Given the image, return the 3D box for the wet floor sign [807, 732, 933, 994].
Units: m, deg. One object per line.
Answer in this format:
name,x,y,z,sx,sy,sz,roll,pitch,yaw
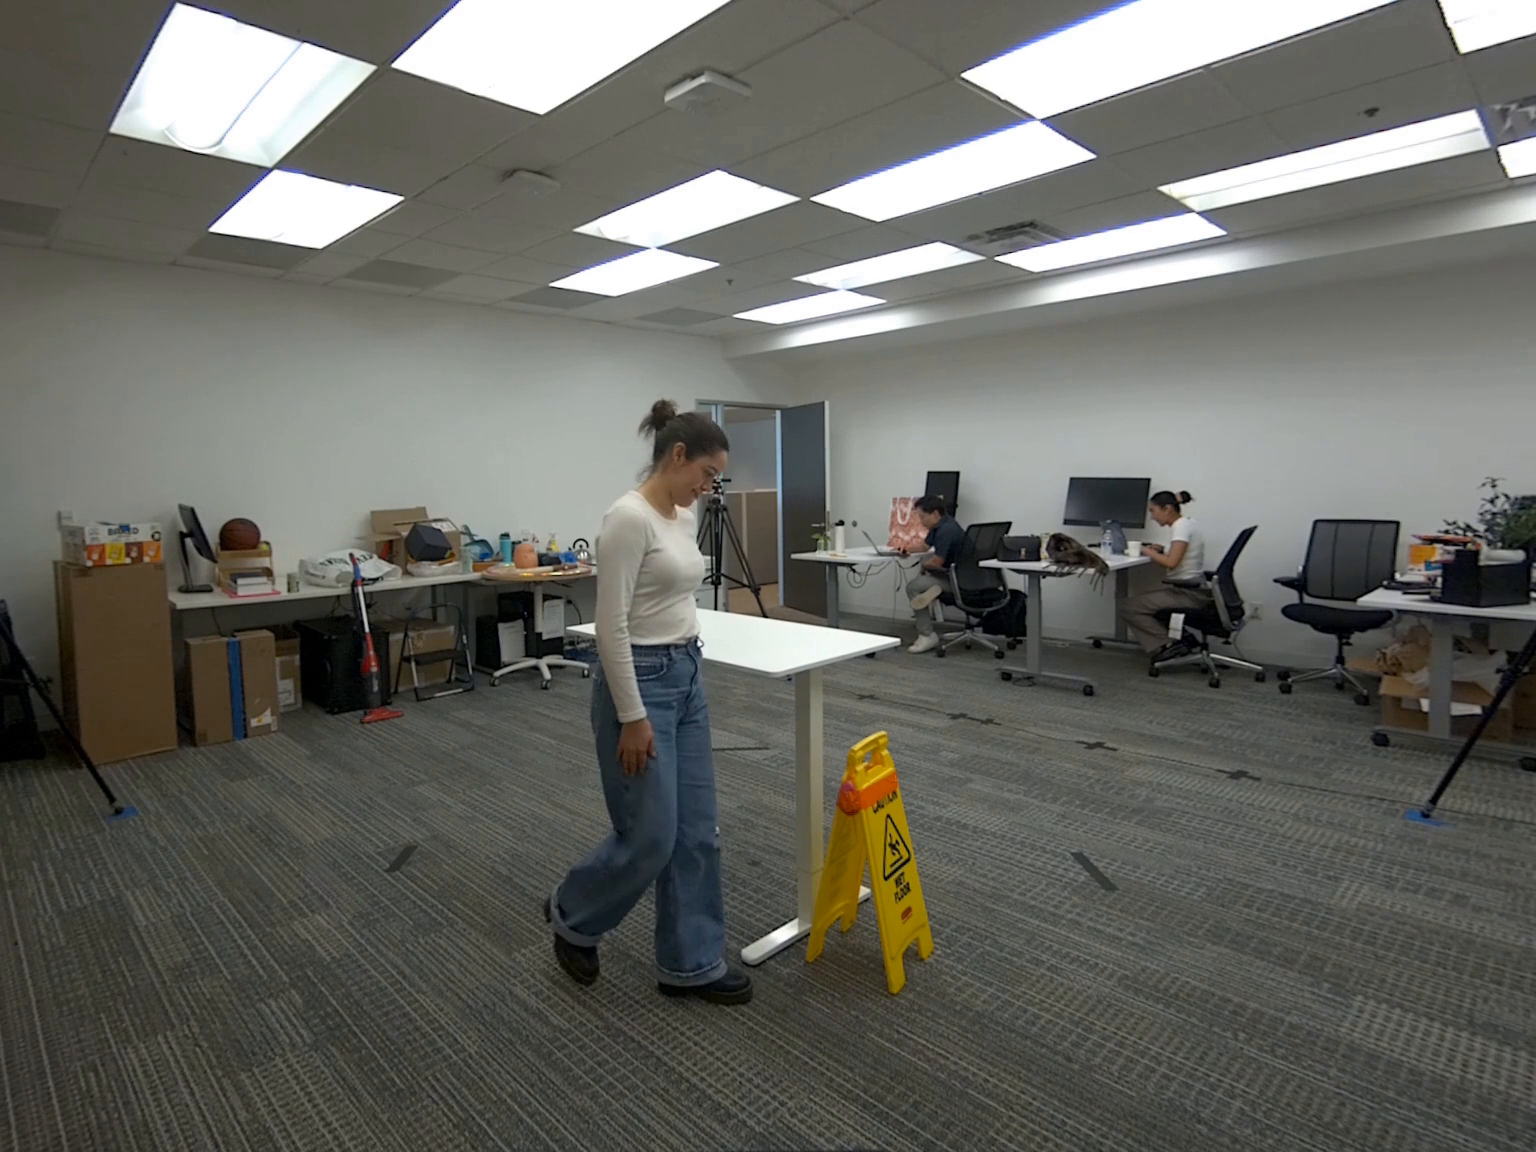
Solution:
wet floor sign,0.300,0.790,2.466,0.298,0.643,0.275,3,7,36
